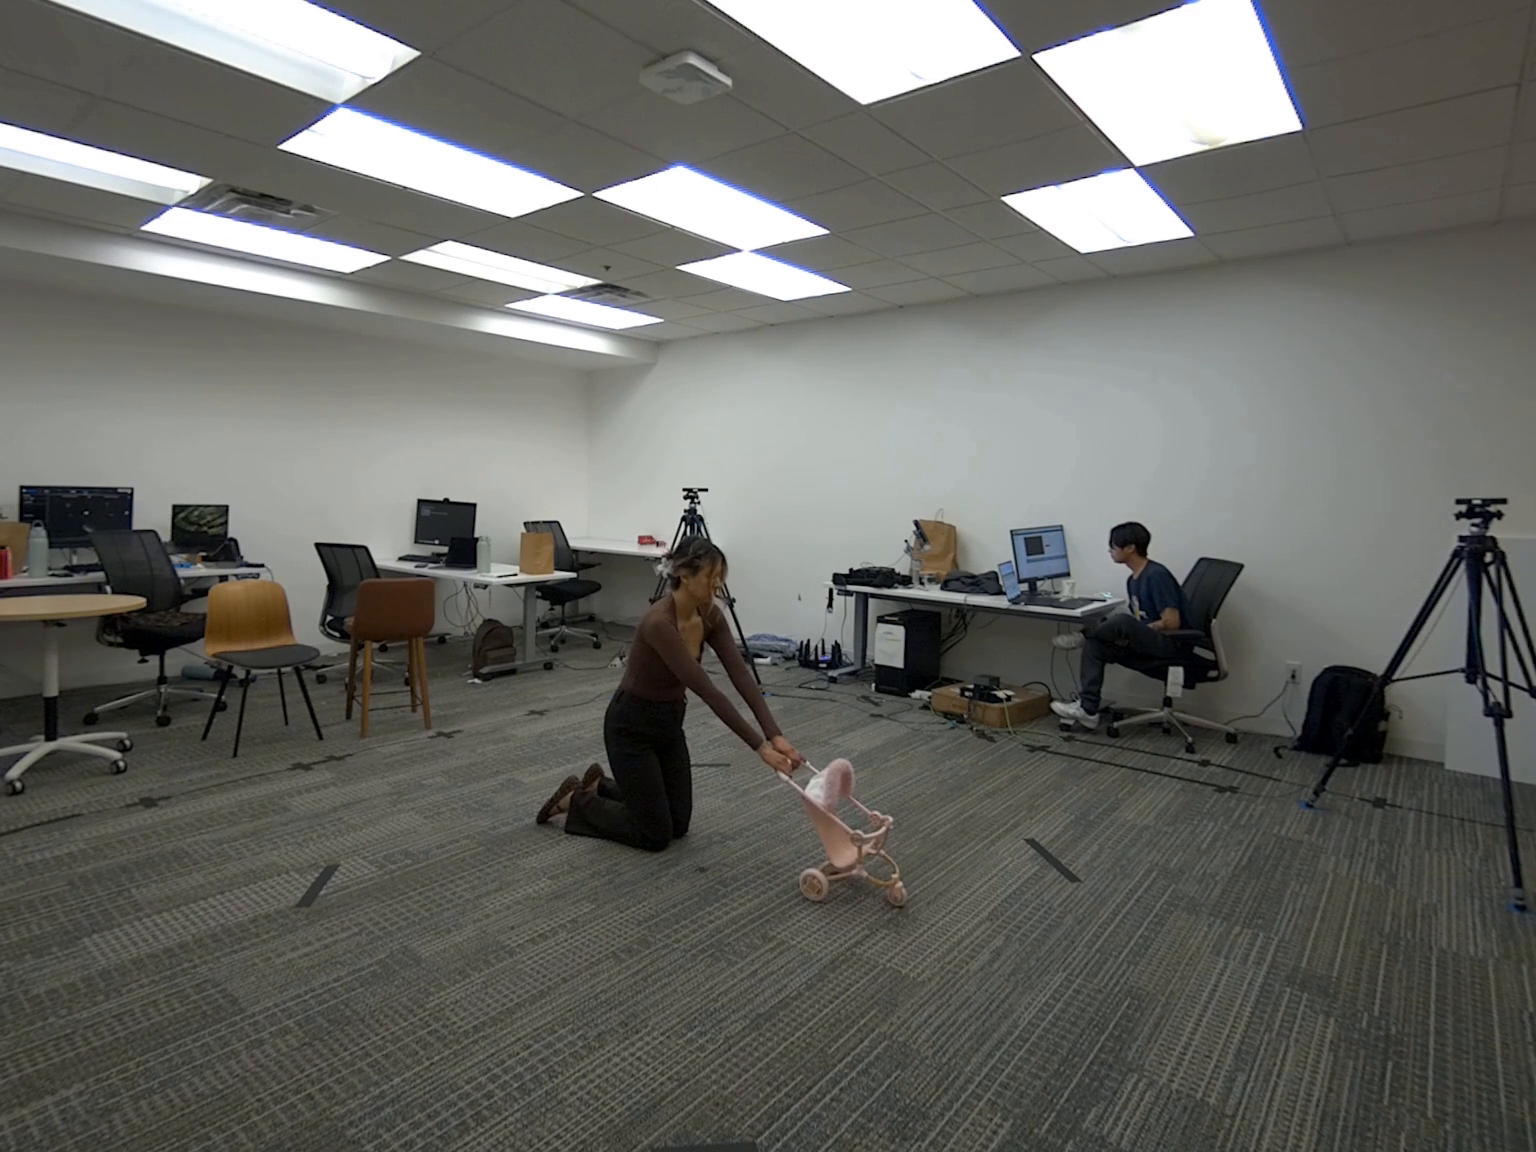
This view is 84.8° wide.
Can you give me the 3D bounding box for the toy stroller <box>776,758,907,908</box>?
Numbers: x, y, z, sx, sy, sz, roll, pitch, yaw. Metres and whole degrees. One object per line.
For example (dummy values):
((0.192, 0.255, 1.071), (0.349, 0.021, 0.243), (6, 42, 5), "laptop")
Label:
((0.253, 0.870, 2.956), (0.348, 0.538, 0.274), (-16, -5, 32), "toy stroller")
